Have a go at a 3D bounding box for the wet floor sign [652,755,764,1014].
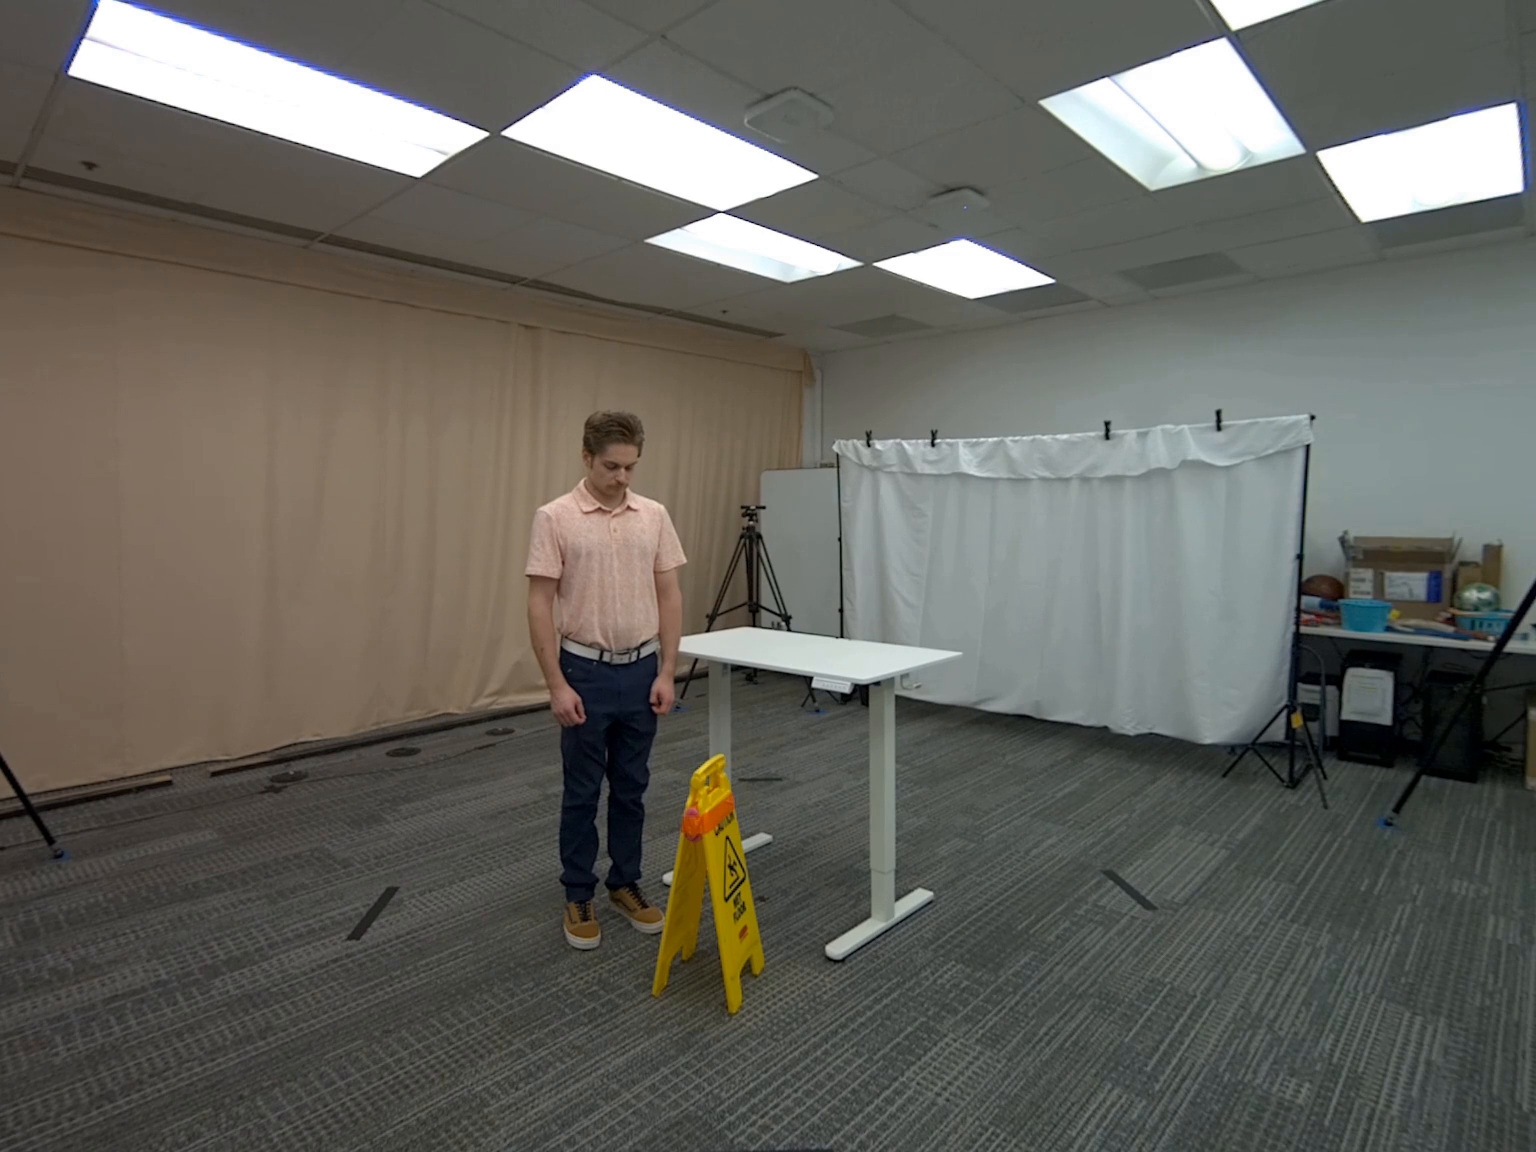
[{"bbox_3d":[-0.170,0.866,2.451,0.295,0.645,0.277,0,2,17],"label":"wet floor sign"}]
